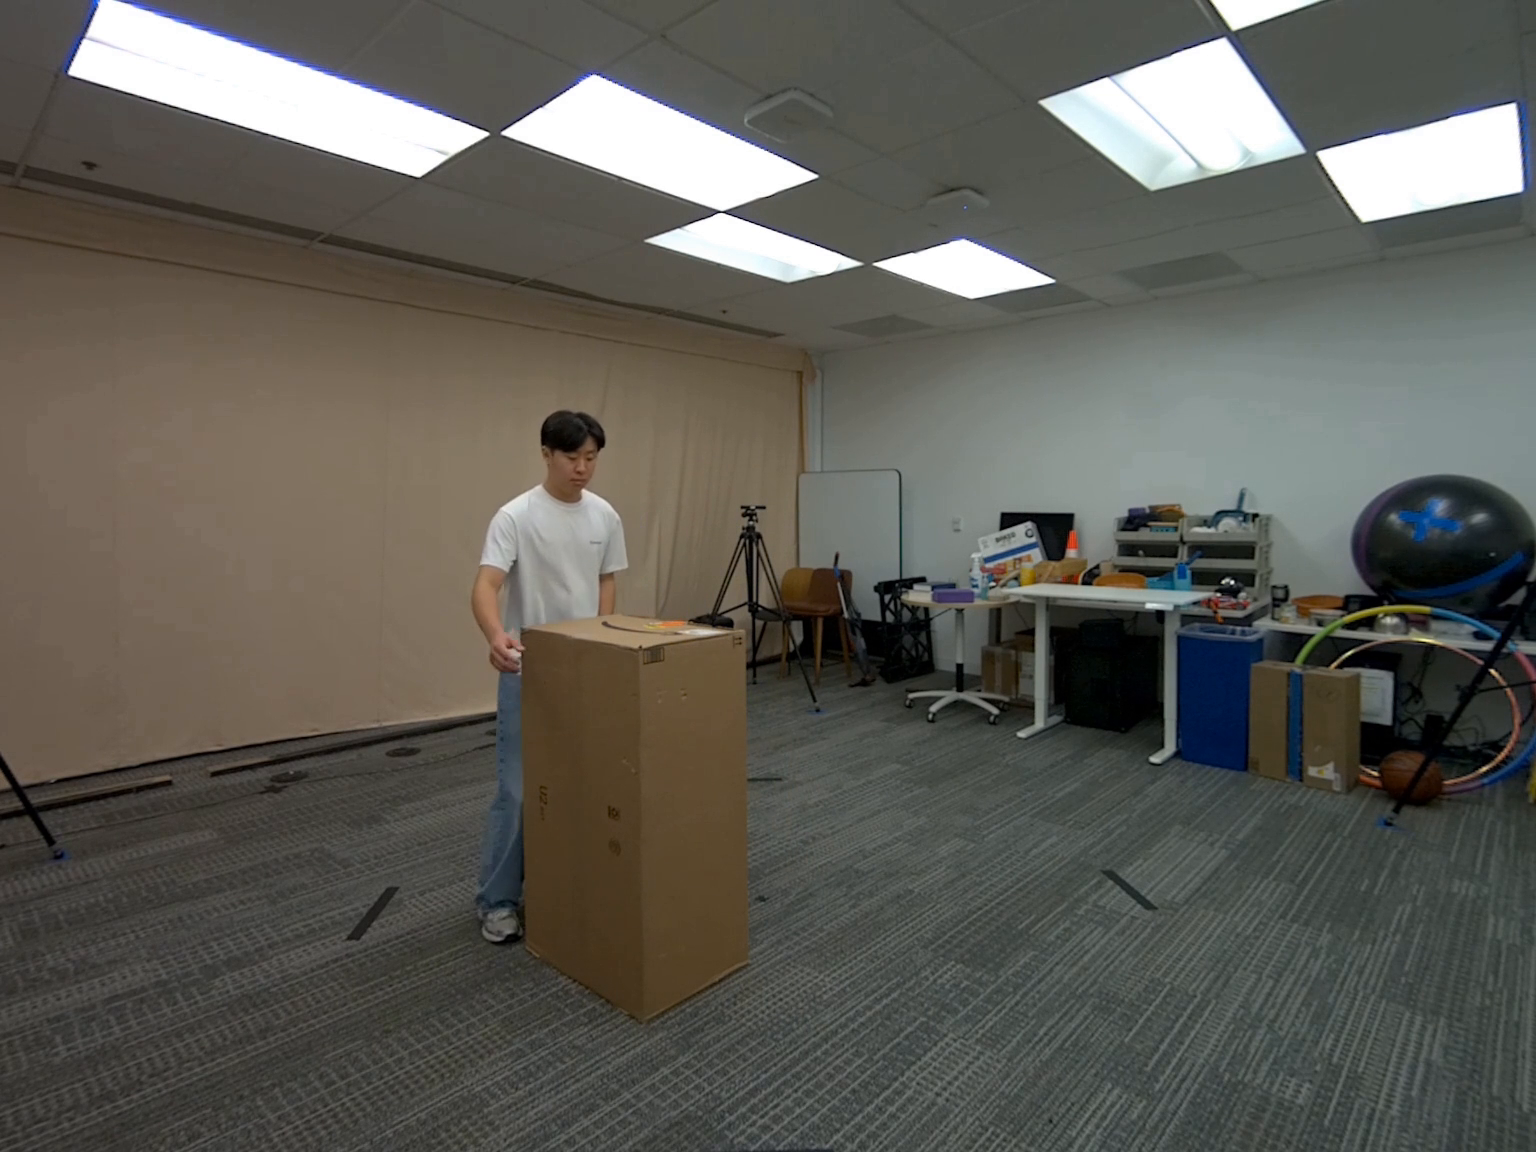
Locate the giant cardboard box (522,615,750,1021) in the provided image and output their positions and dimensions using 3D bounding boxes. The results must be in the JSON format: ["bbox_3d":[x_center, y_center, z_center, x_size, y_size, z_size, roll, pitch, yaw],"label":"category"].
[{"bbox_3d":[-0.407,0.672,2.582,0.596,1.024,0.413,2,3,42],"label":"giant cardboard box"}]
